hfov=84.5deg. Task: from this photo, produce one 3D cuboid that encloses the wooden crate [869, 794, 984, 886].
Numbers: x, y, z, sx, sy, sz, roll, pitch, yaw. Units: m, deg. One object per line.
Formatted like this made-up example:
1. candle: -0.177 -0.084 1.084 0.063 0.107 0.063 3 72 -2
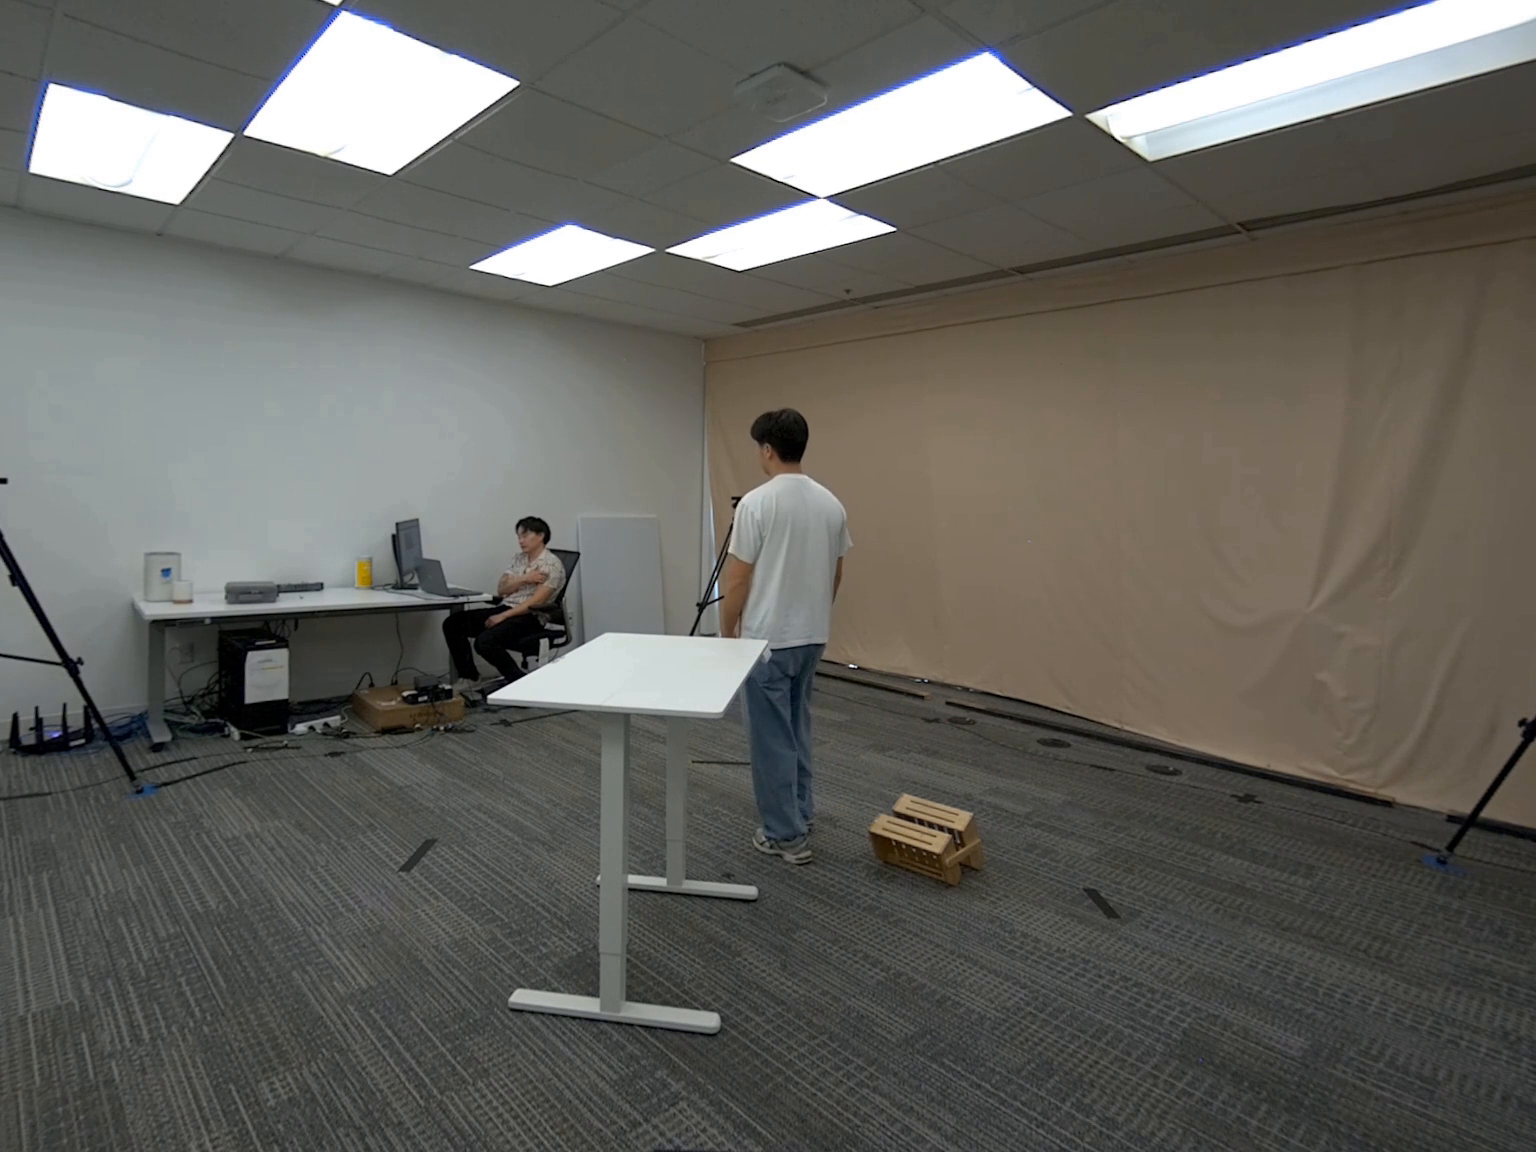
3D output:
1. wooden crate: 0.594 1.028 3.193 0.332 0.296 0.272 5 33 40
